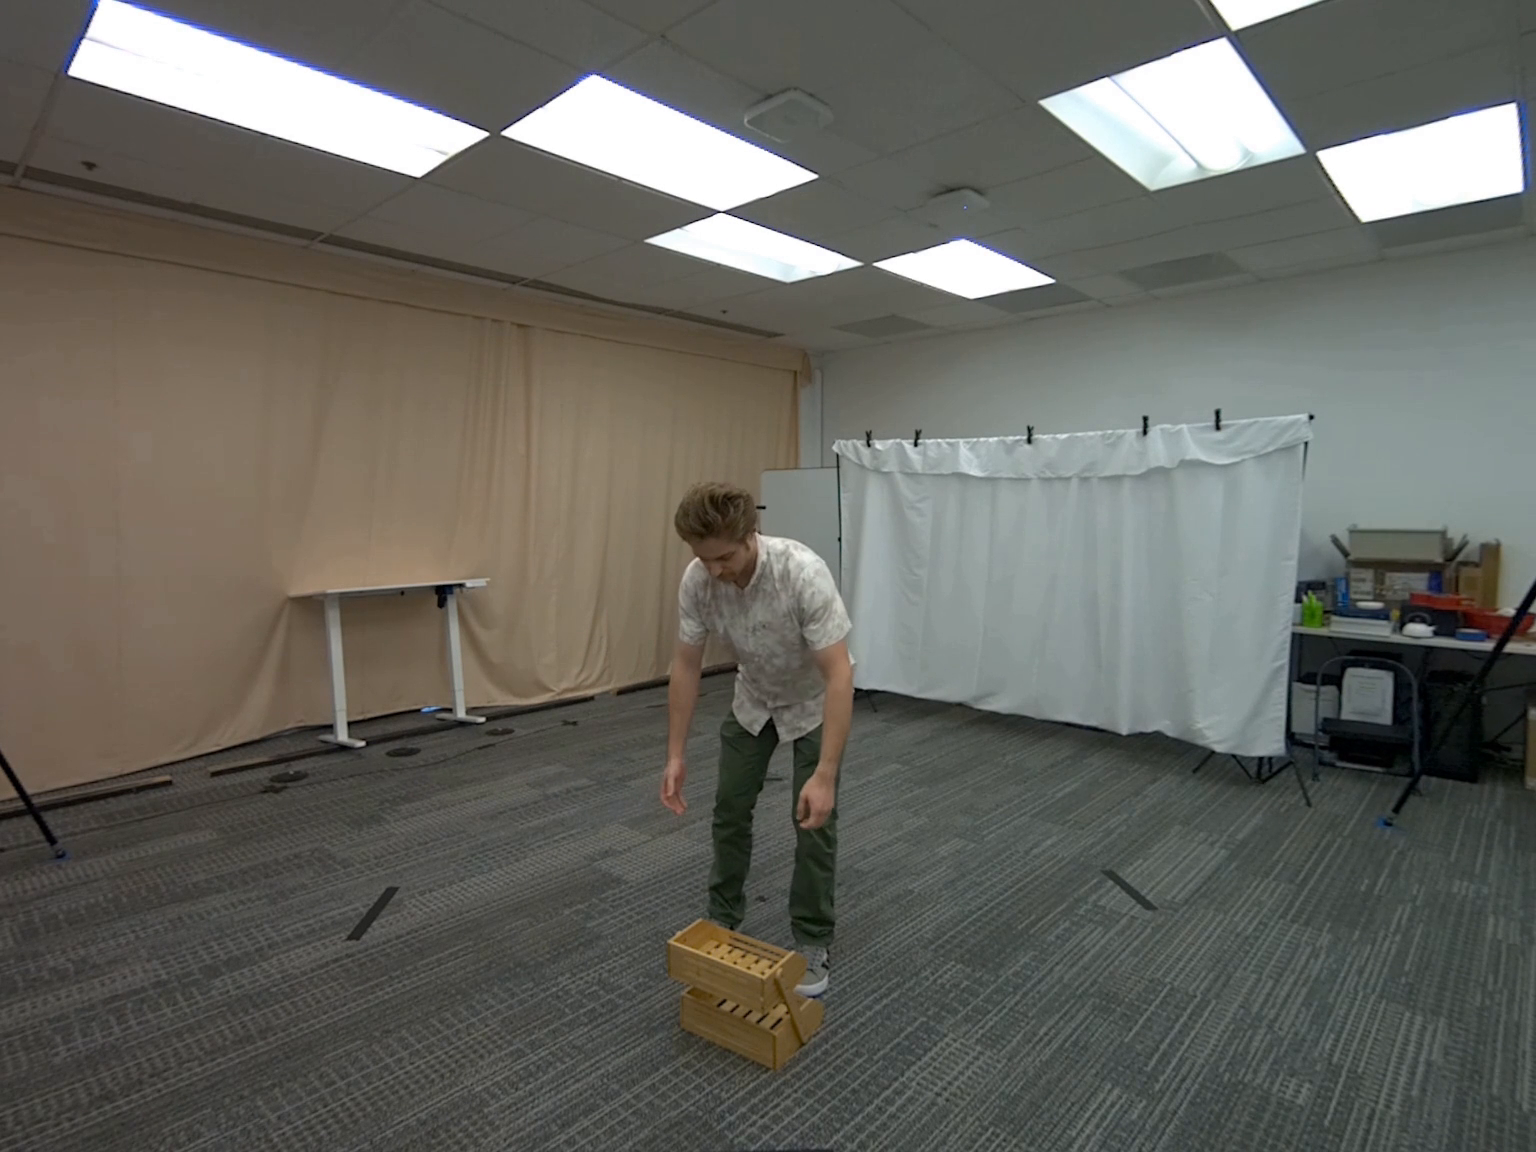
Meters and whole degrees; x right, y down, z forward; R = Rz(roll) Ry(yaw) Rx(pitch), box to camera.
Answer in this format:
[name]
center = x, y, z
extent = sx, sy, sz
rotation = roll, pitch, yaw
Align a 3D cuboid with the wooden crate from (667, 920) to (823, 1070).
[wooden crate]
center = -0.050, 1.073, 2.231
extent = 0.334, 0.272, 0.293
rotation = 3, 5, 34
